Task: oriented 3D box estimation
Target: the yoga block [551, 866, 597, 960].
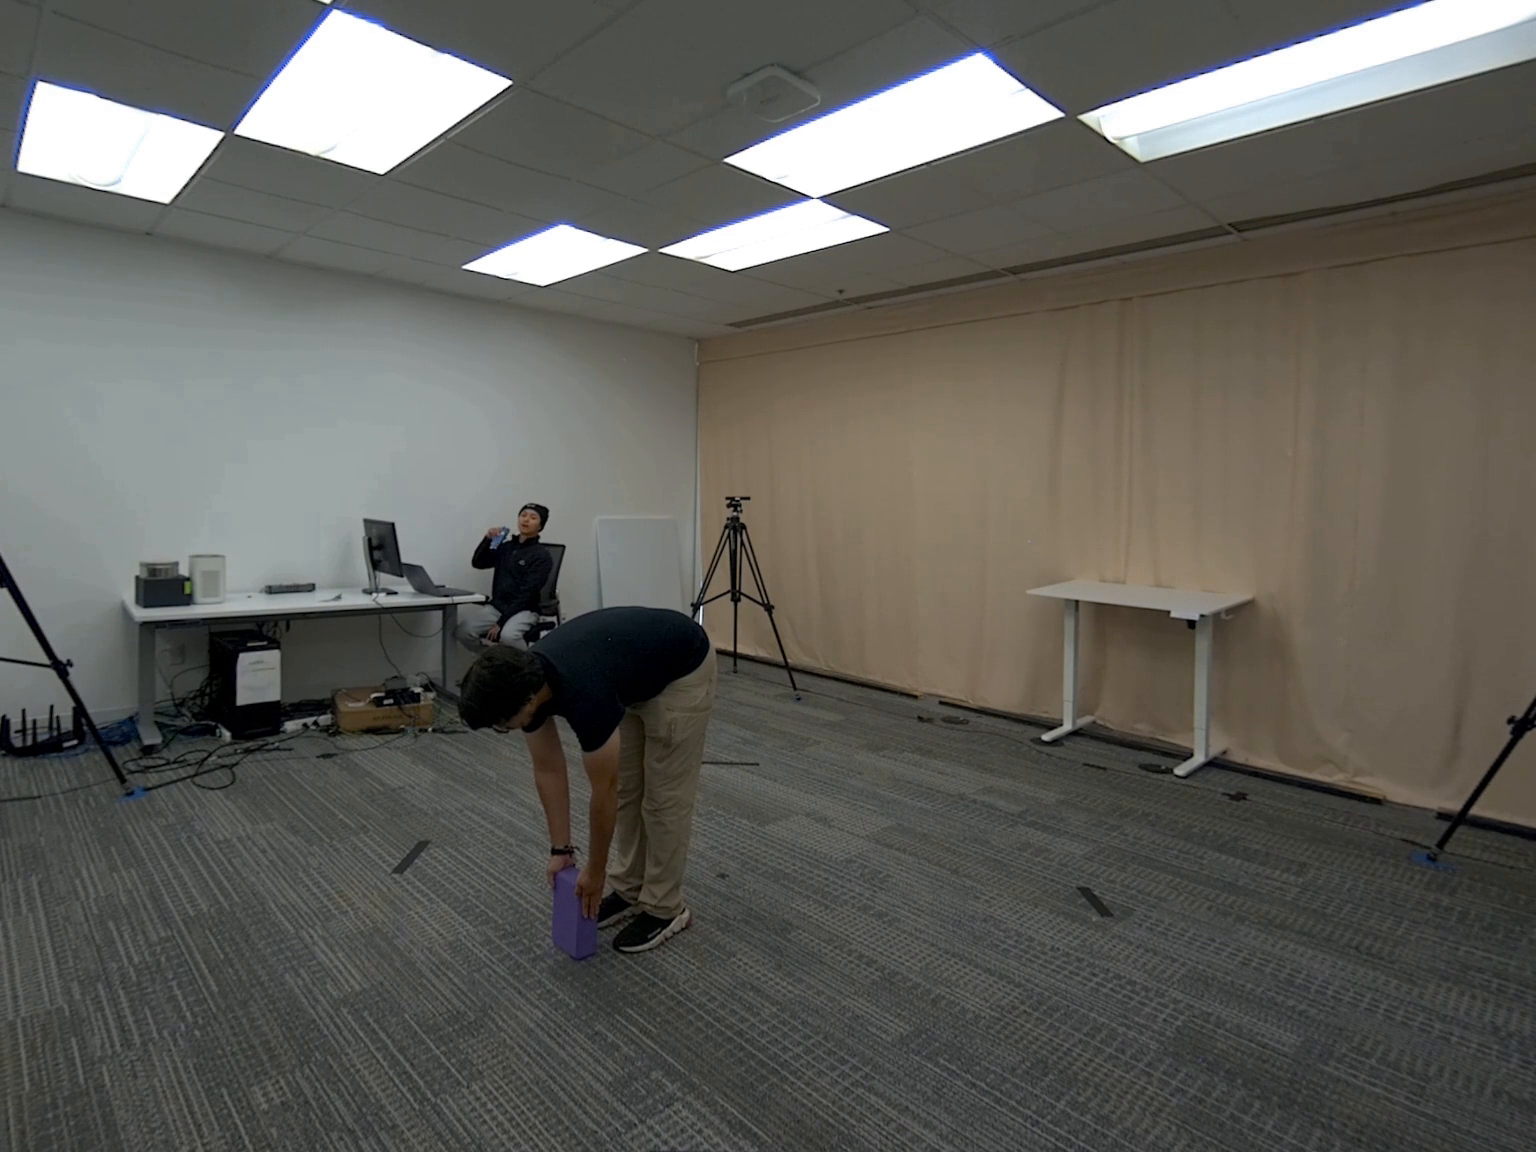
[{"bbox_3d":[-0.598,1.034,2.573,0.075,0.229,0.153,-2,4,-41],"label":"yoga block"}]
